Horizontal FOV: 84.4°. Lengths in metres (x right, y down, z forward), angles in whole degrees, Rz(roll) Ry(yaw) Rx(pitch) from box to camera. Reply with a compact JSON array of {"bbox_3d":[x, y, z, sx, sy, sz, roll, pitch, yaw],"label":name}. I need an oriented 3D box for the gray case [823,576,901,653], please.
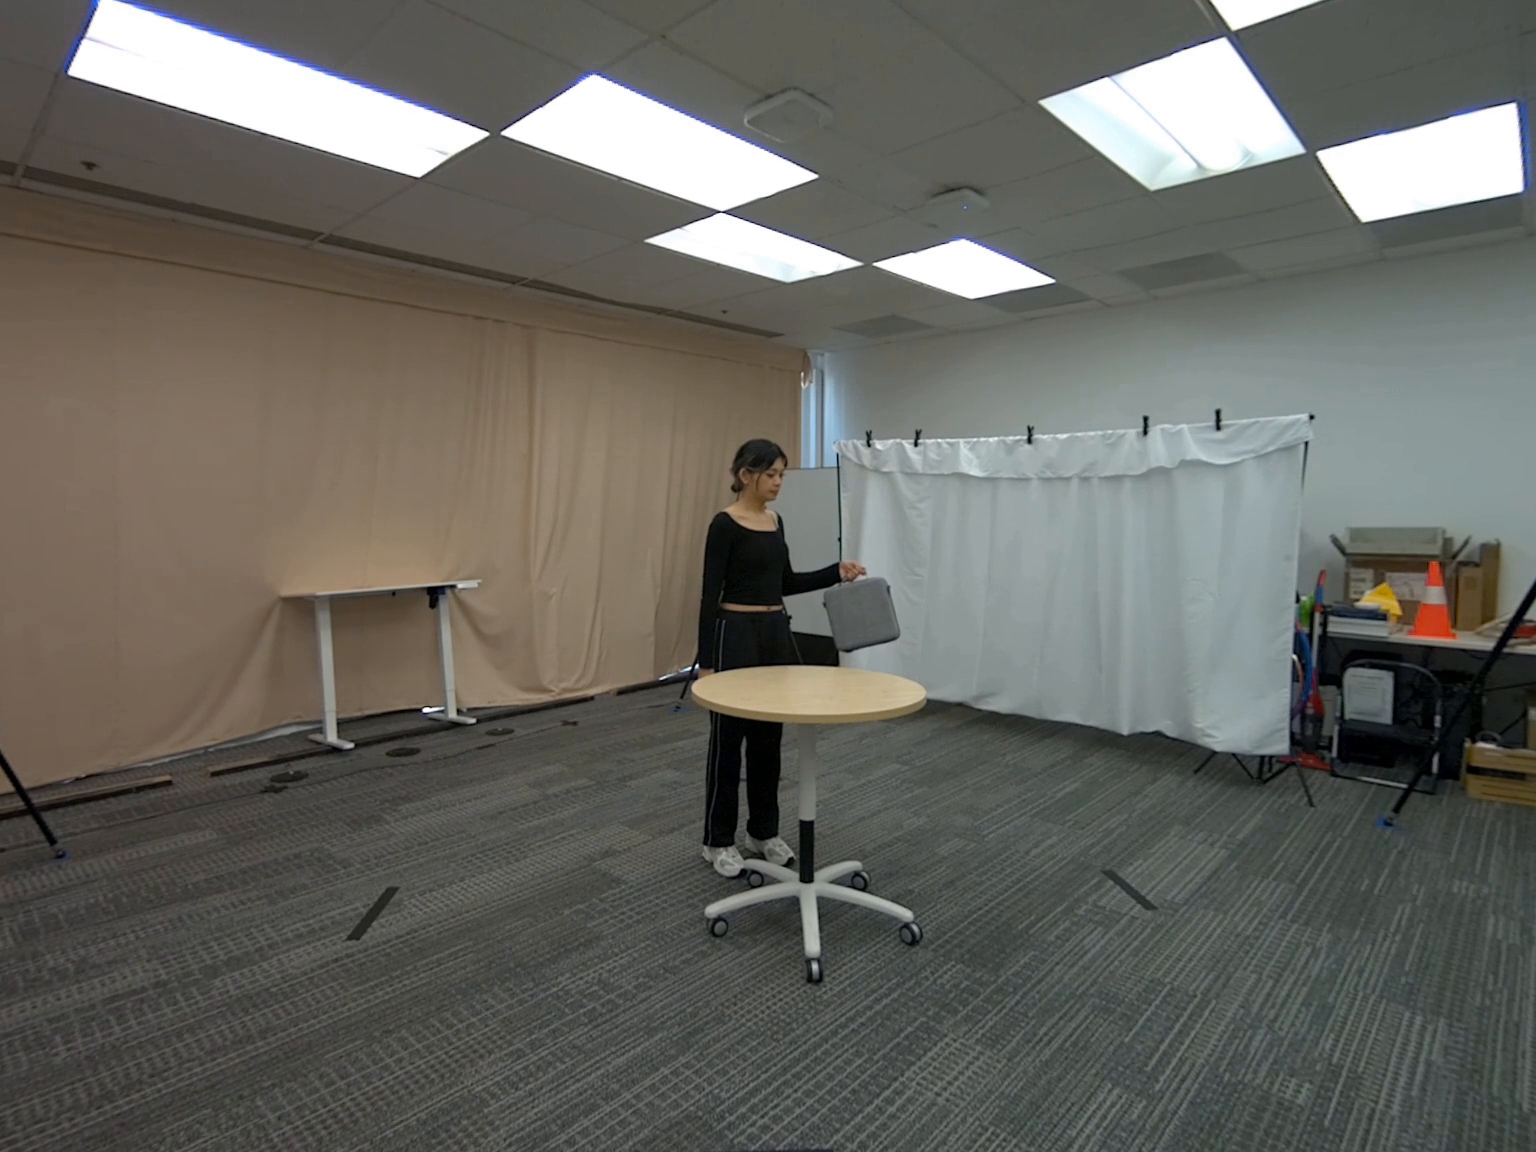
[{"bbox_3d":[0.374,0.146,3.299,0.260,0.263,0.102,-16,-9,15],"label":"gray case"}]
